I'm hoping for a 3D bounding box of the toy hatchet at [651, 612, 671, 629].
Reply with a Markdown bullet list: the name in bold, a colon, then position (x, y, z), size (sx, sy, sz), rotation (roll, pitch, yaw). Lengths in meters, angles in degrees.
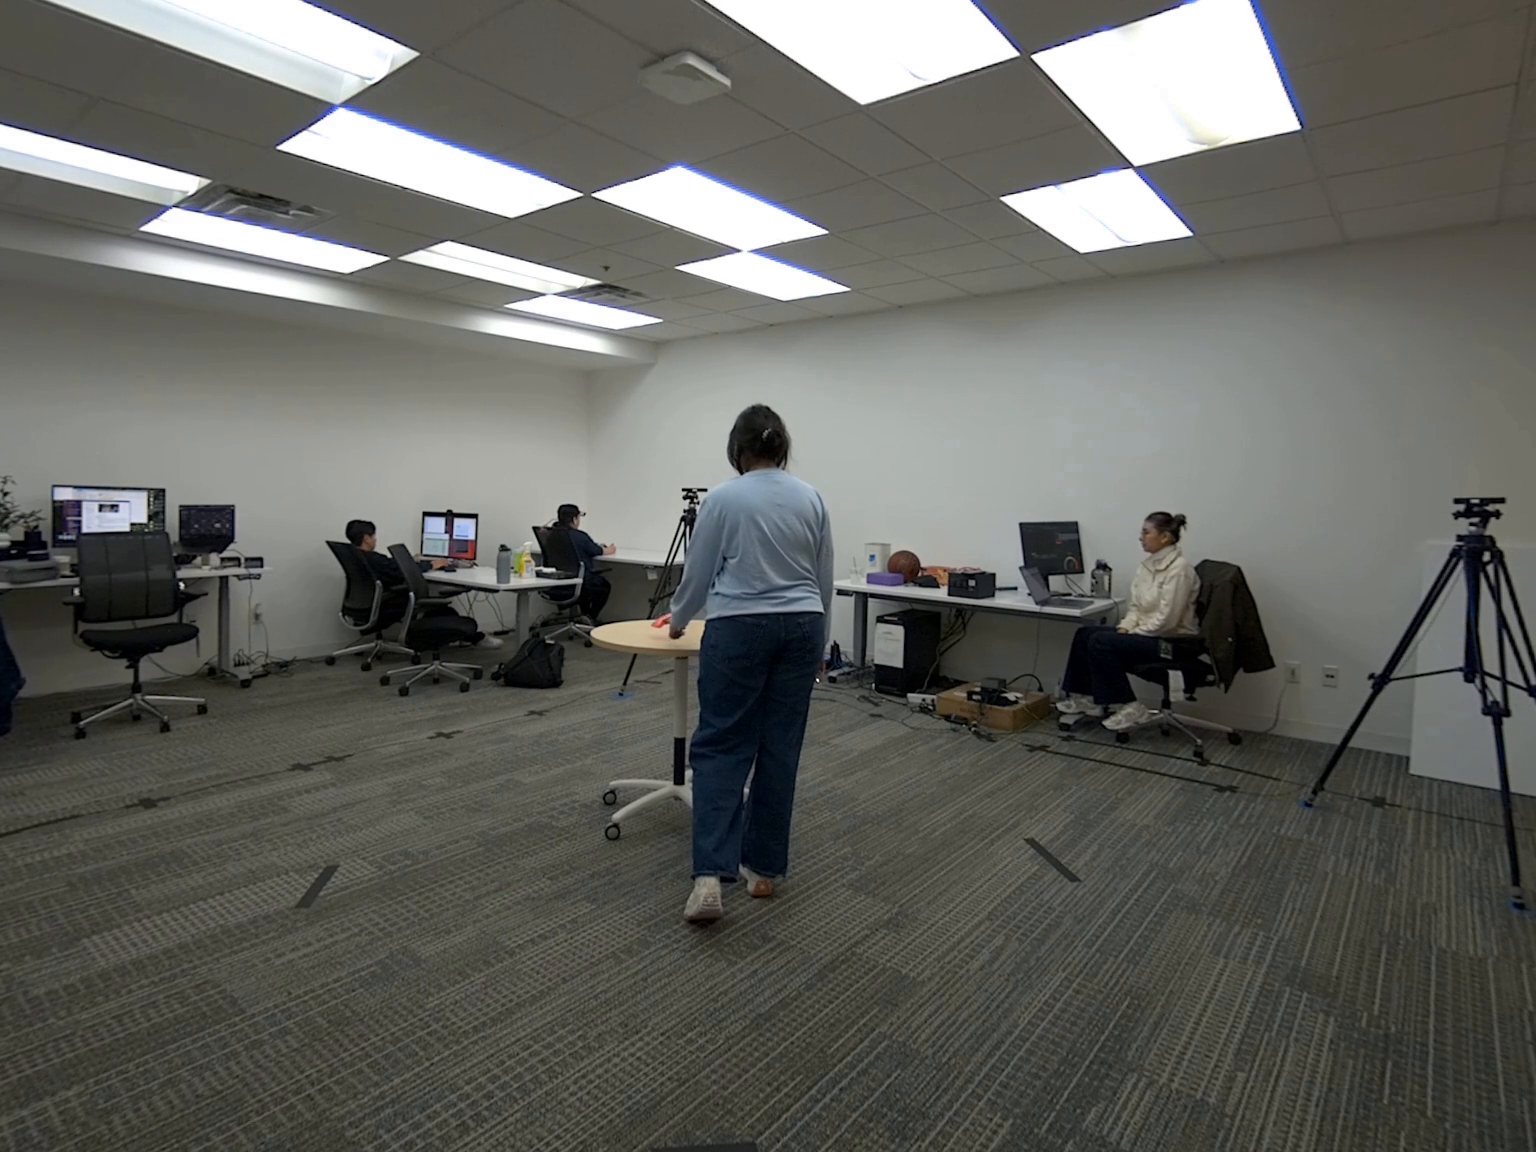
- **toy hatchet**: position (-0.417, 0.200, 3.344), size (0.131, 0.029, 0.275), rotation (-15, 16, -3)
